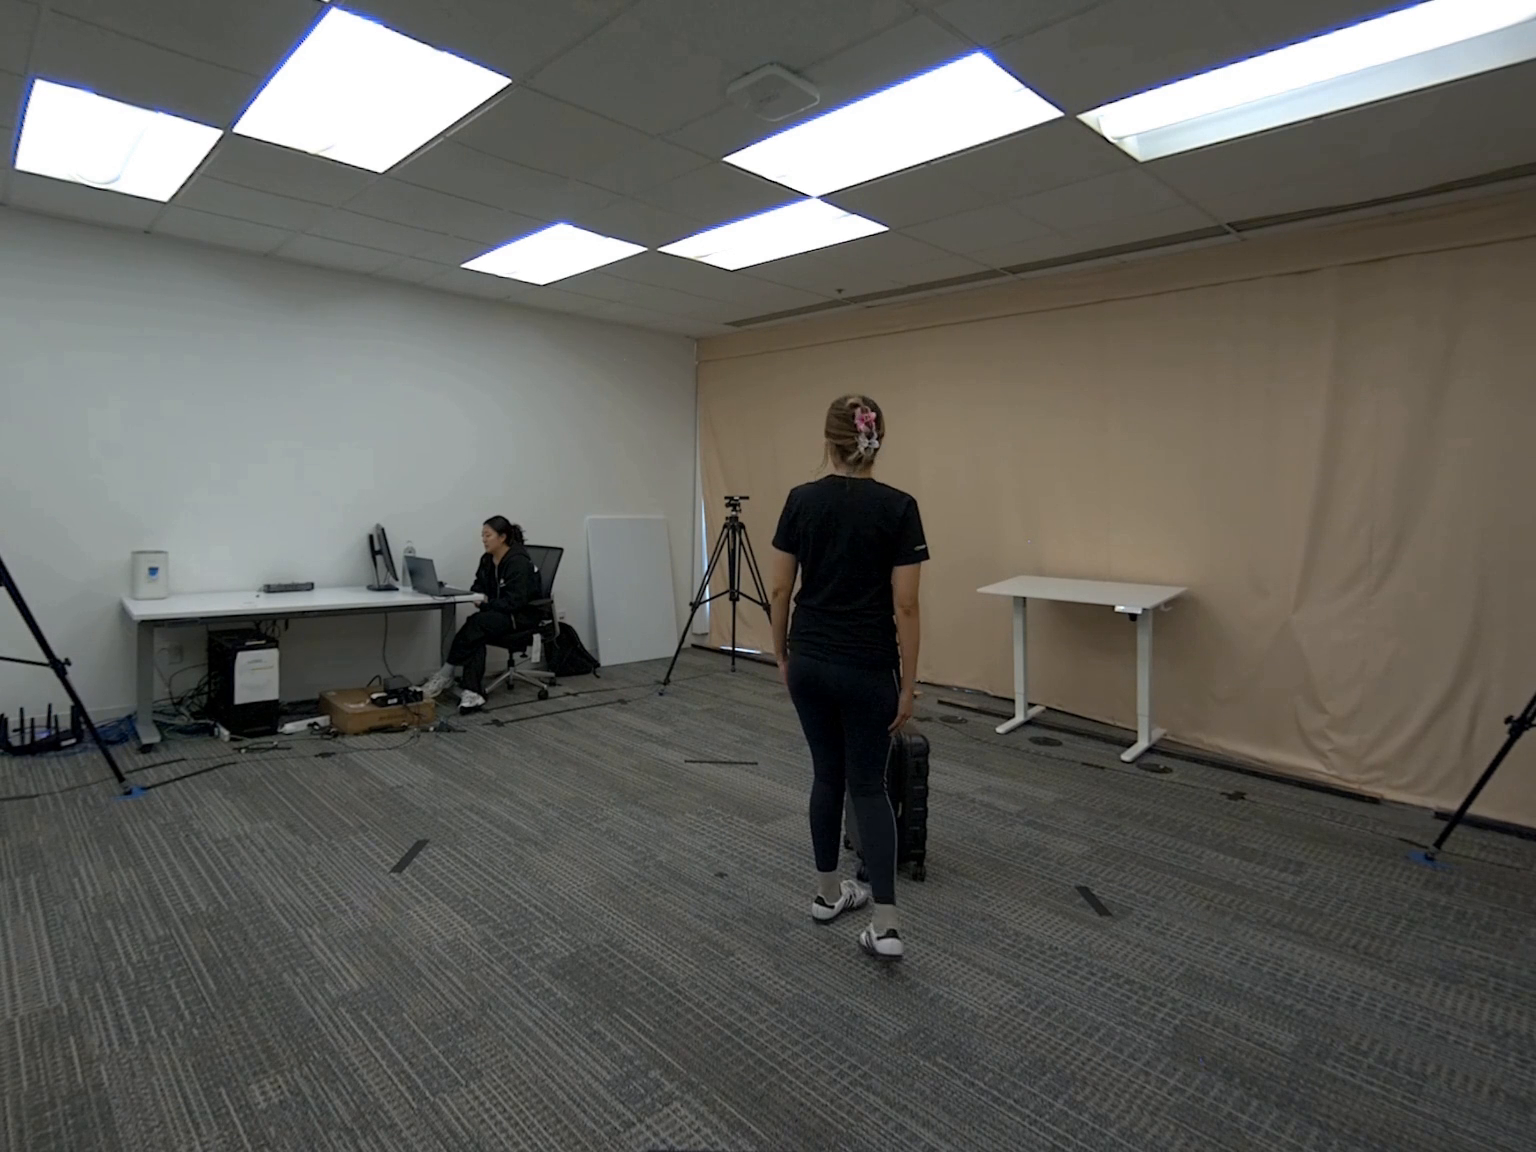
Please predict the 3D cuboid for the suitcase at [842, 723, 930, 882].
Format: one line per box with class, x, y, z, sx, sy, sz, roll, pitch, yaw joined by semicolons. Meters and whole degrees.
suitcase;0.461;0.631;3.244;0.256;0.977;0.386;3;2;-5
